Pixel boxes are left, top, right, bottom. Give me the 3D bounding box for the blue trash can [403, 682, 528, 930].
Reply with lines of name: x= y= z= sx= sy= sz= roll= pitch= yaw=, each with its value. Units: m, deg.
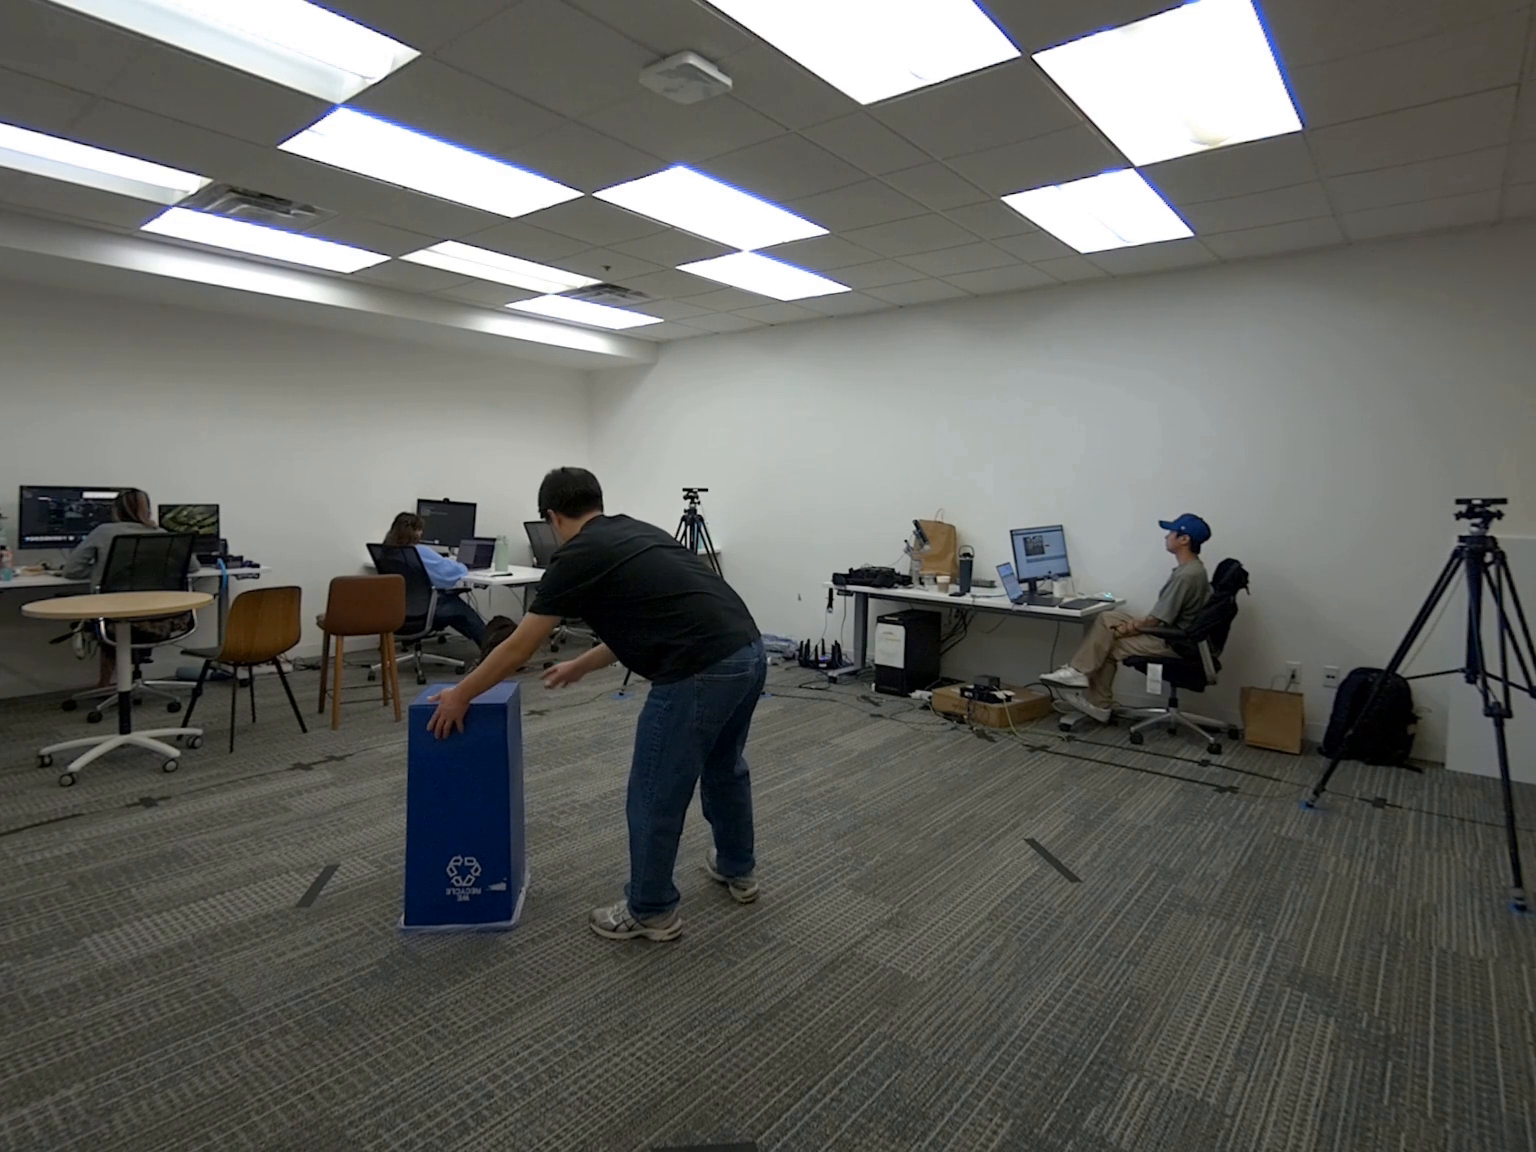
blue trash can: x=-1.007 y=0.736 z=2.804 sx=0.371 sy=0.711 sz=0.382 roll=0 pitch=4 yaw=-7
